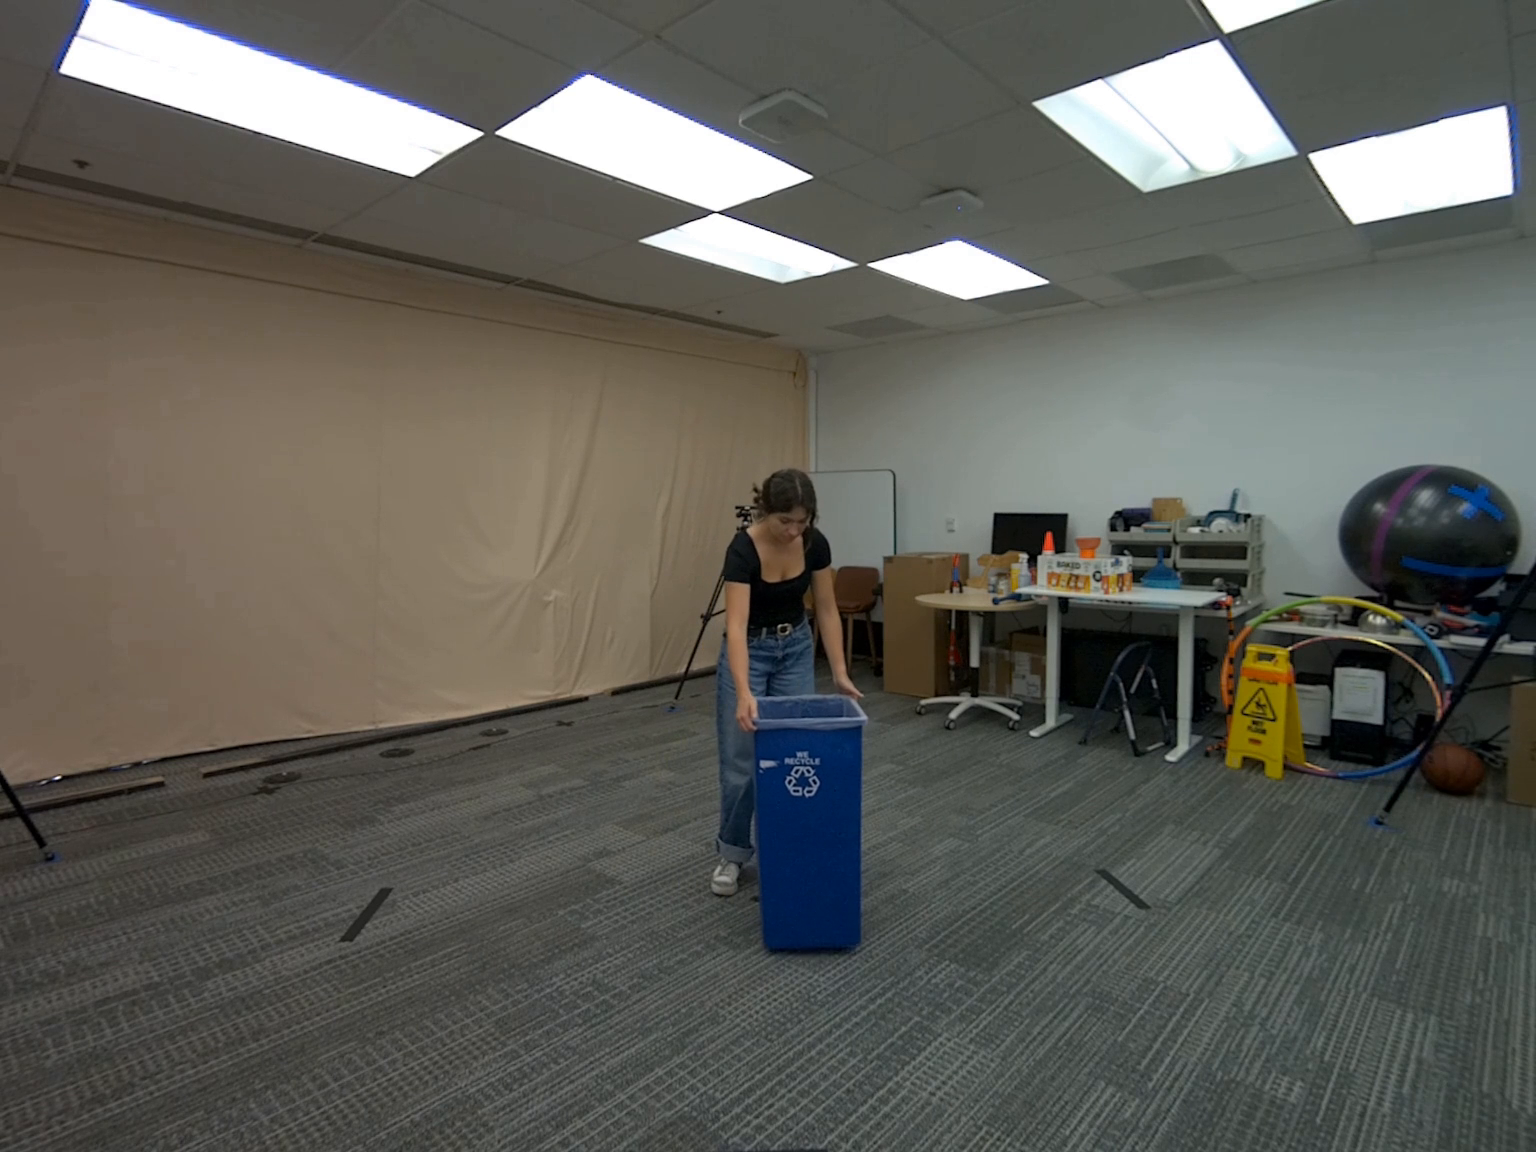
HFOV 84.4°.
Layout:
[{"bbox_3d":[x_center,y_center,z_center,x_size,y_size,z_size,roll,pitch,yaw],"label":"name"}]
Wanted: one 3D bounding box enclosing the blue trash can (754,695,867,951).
[{"bbox_3d":[0.128,0.782,2.741,0.374,0.712,0.378,-2,2,-1],"label":"blue trash can"}]
